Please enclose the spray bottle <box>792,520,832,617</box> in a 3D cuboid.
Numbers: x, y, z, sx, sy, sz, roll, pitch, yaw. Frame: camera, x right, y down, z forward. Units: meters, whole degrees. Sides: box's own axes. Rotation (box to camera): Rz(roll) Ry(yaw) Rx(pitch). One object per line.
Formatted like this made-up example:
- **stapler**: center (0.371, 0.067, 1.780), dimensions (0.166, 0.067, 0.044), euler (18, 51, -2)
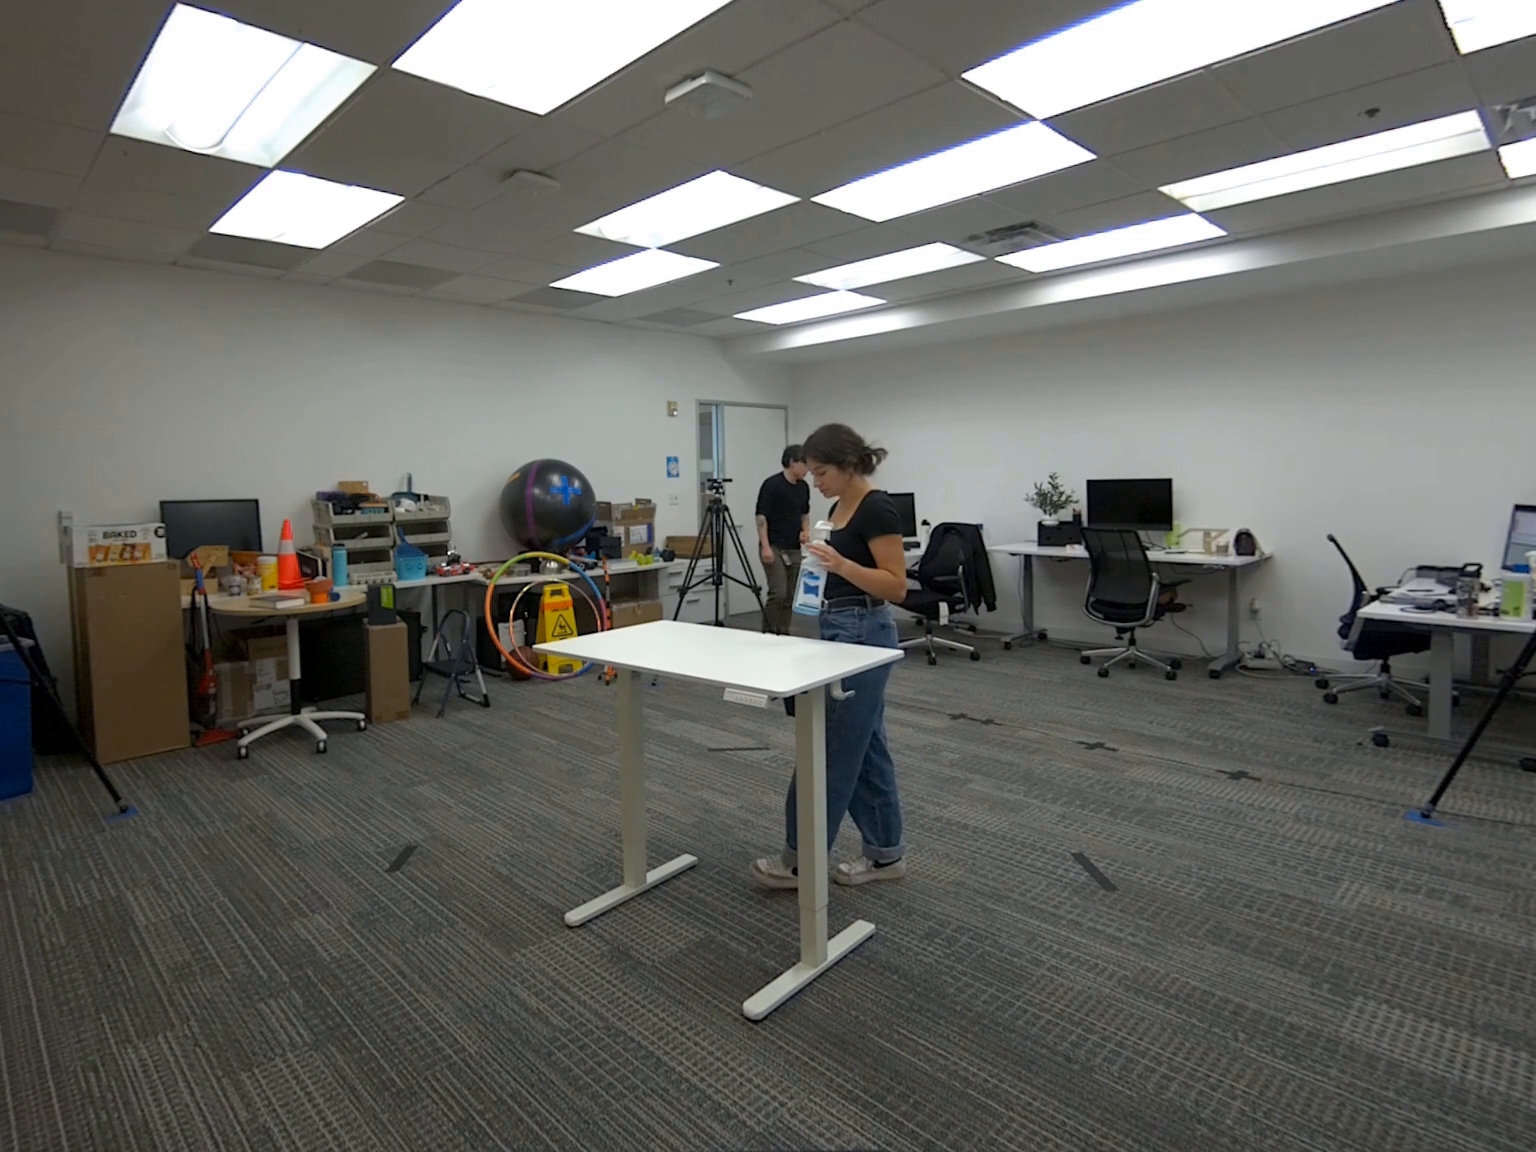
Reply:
- **spray bottle**: center (0.149, -0.025, 2.671), dimensions (0.087, 0.298, 0.089), euler (14, -3, -26)
